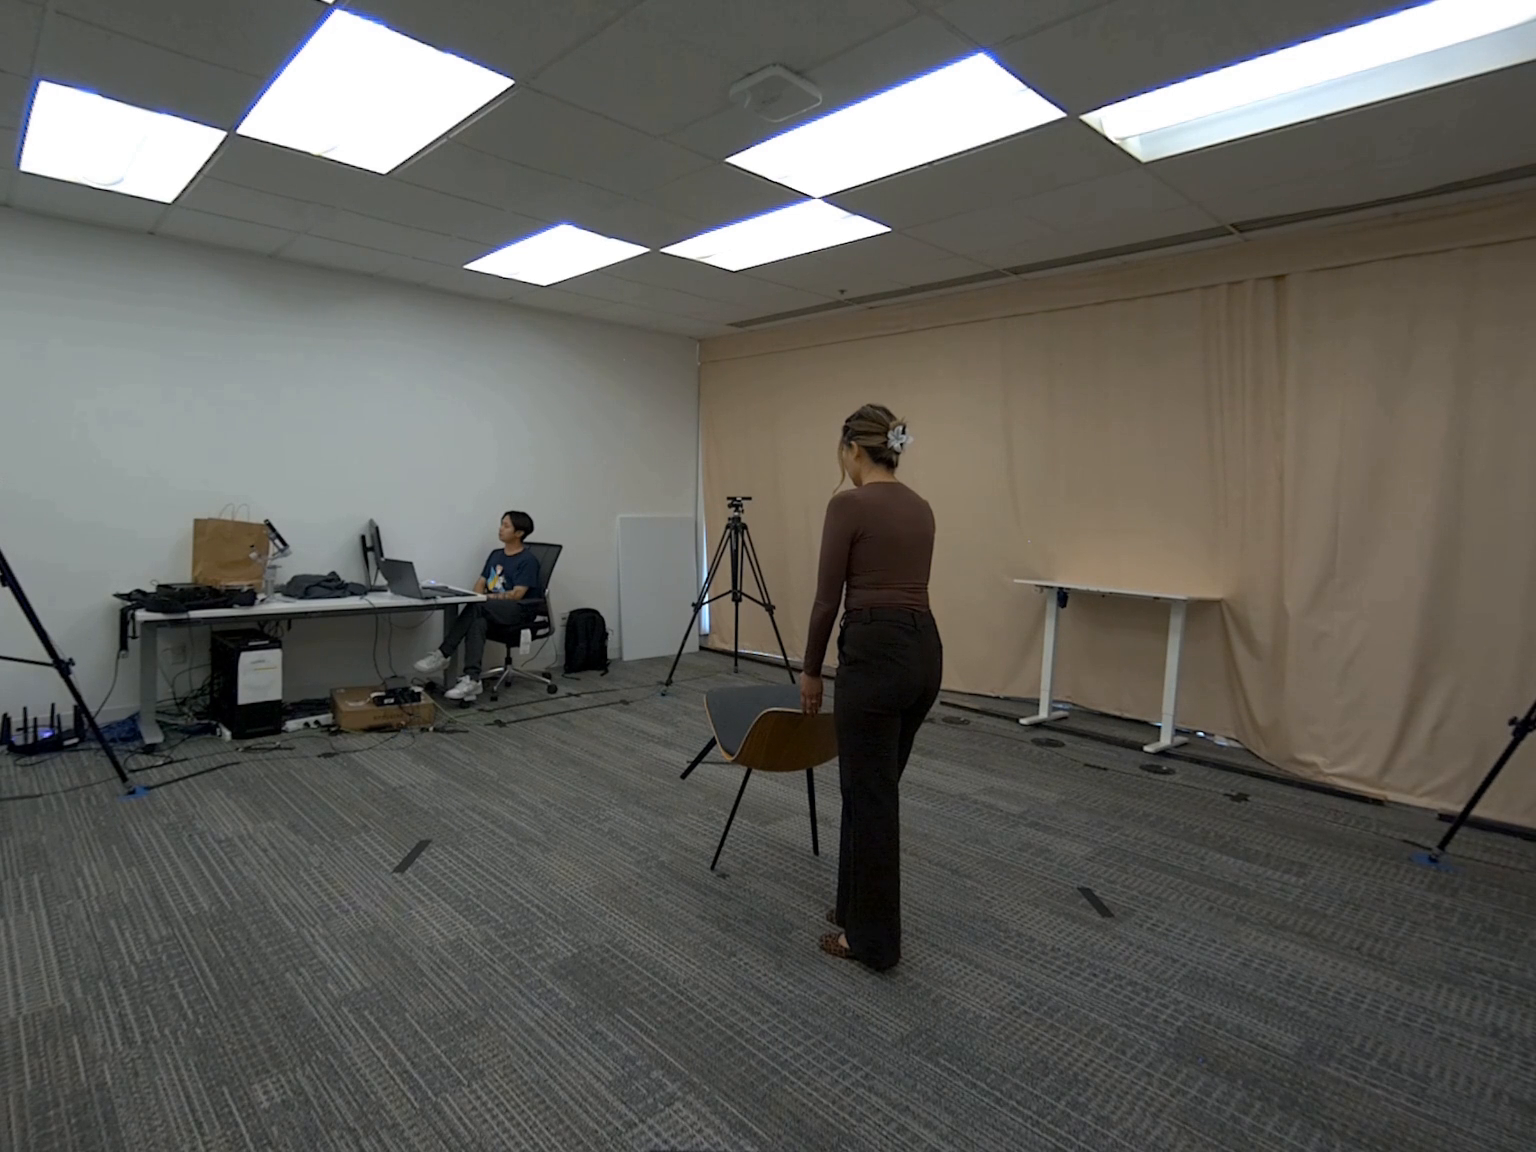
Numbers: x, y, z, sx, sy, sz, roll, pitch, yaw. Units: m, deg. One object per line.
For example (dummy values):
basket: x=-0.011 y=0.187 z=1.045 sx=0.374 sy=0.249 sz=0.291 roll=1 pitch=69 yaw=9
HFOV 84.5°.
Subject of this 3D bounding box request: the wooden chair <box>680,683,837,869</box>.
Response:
wooden chair: x=0.007 y=0.615 z=3.180 sx=0.470 sy=0.865 sz=0.539 roll=0 pitch=39 yaw=-23
